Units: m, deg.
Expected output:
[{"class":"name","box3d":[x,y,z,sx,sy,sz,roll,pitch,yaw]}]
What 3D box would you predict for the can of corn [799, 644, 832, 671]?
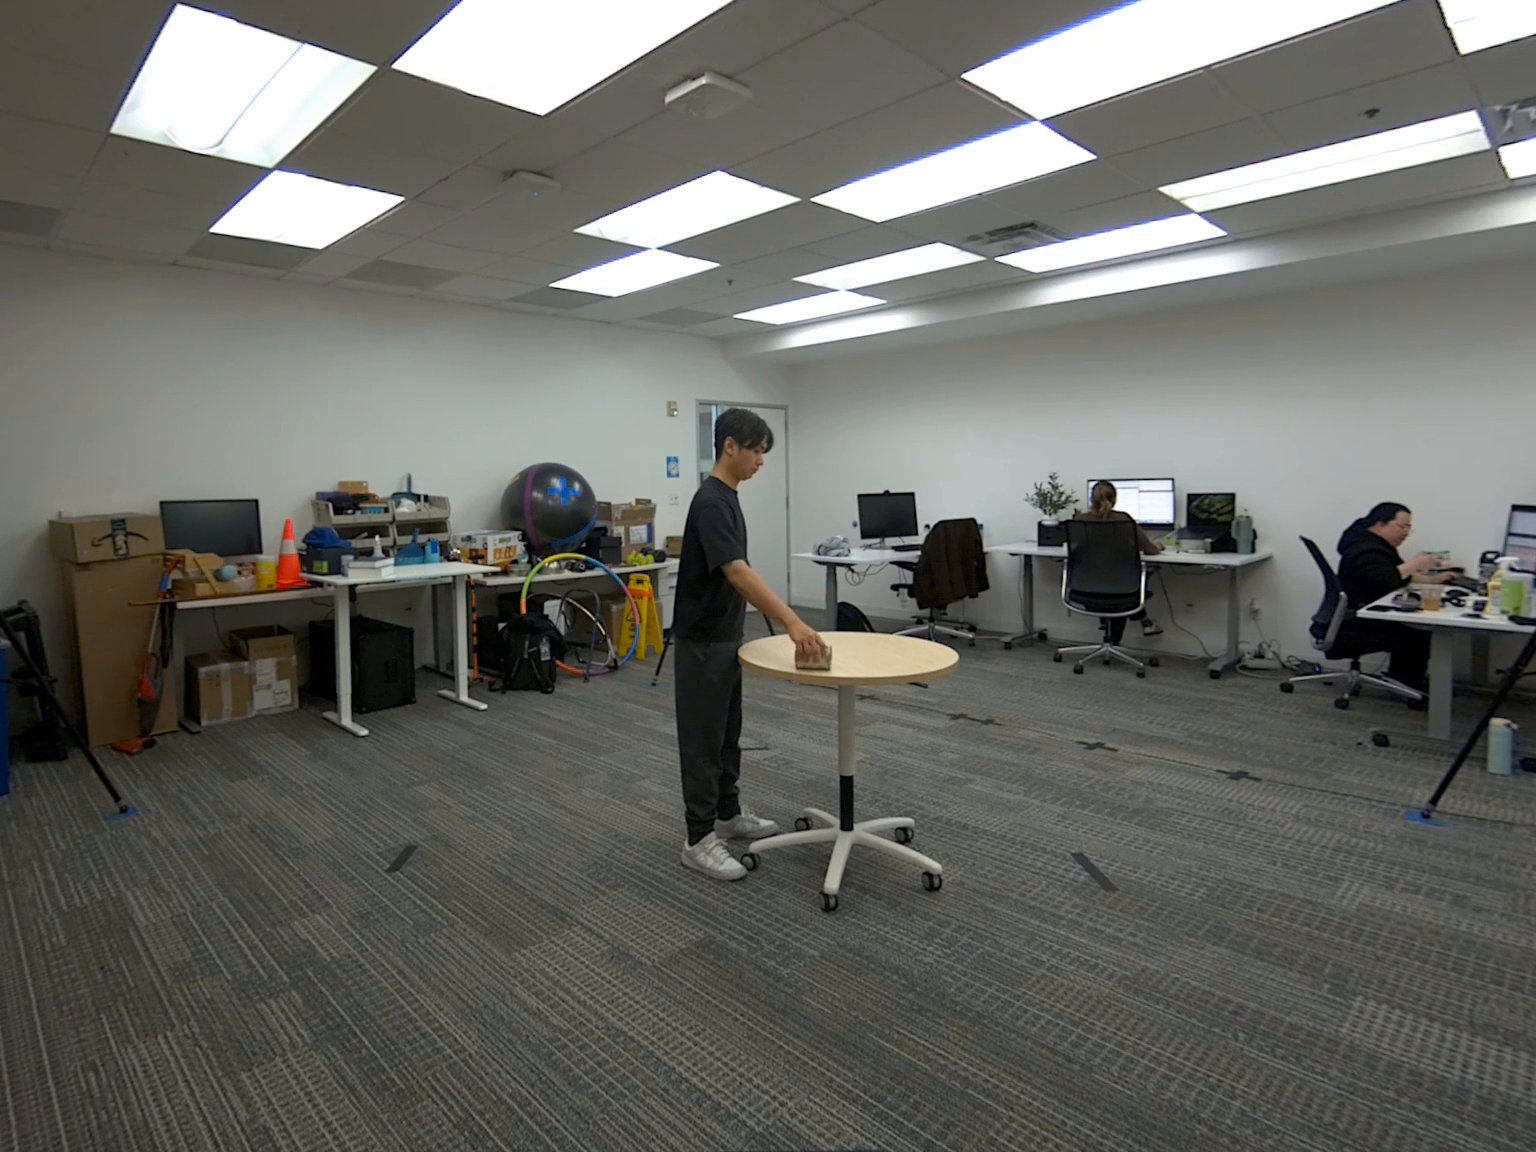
[{"class":"can of corn","box3d":[0.150,0.261,2.756,0.111,0.074,0.074,-2,5,4]}]
